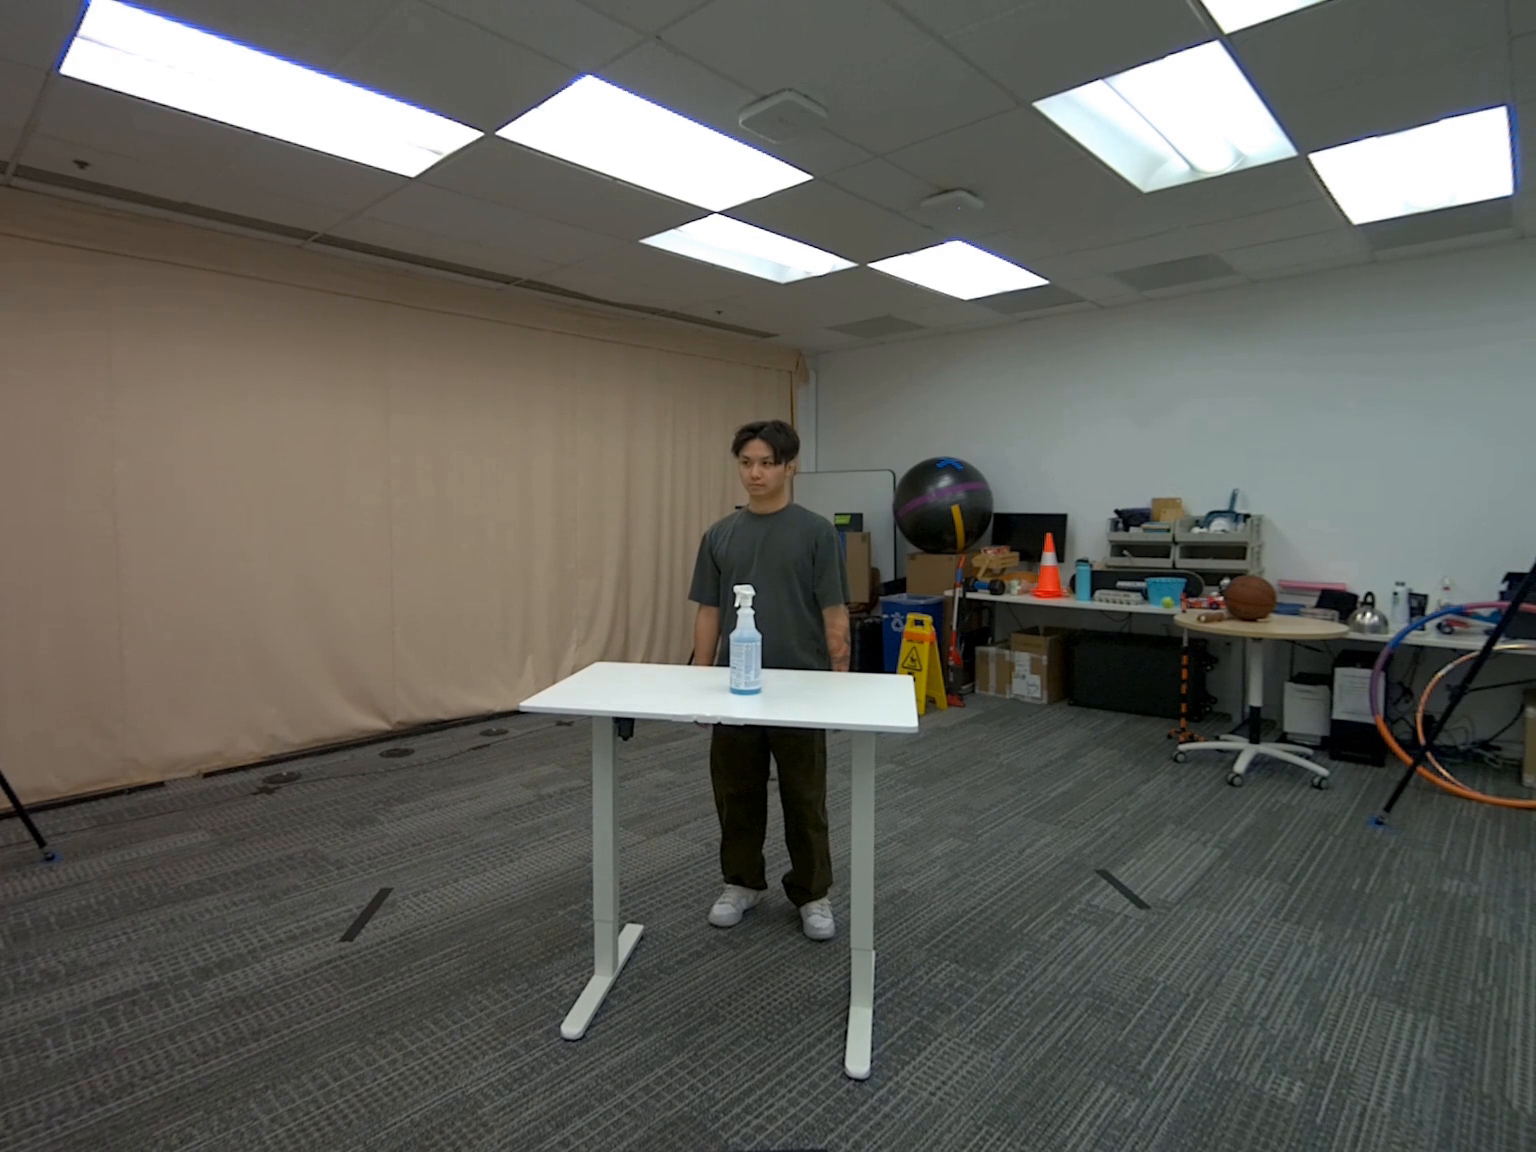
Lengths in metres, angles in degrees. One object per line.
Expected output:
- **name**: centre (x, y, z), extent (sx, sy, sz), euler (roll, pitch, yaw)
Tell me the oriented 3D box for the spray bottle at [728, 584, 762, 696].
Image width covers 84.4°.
- **spray bottle**: centre (-0.057, 0.174, 2.308), extent (0.087, 0.296, 0.090), euler (-1, 5, -33)
